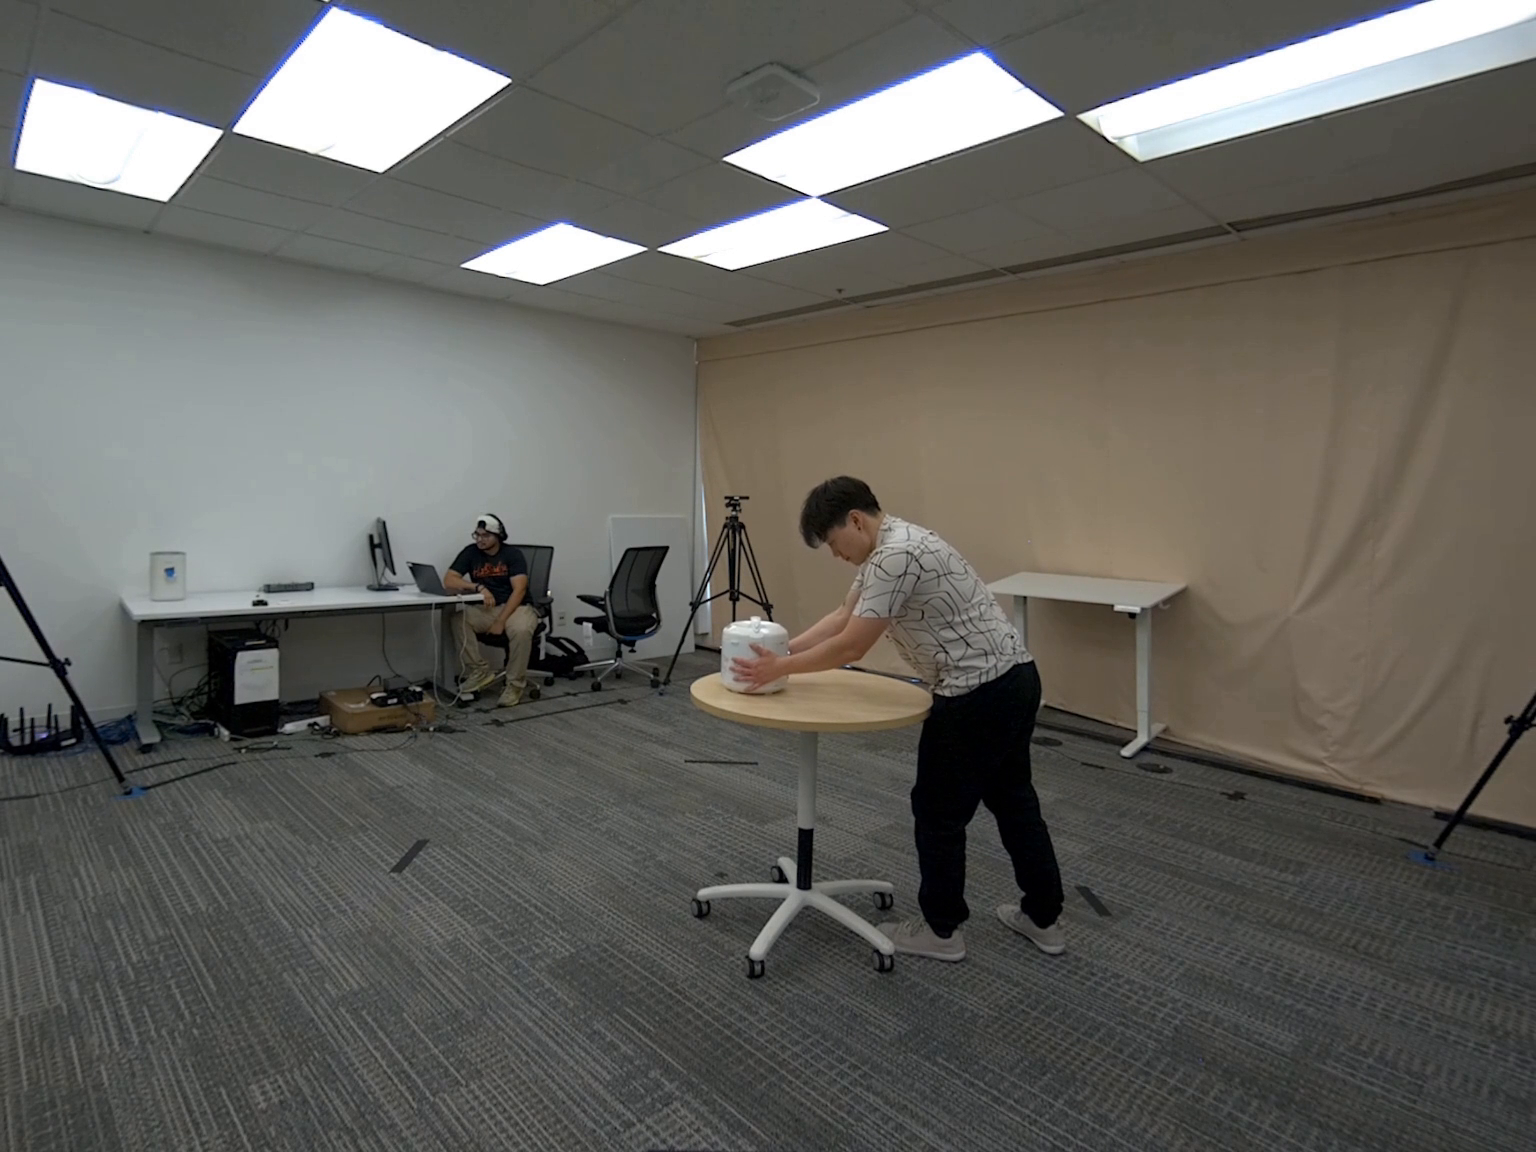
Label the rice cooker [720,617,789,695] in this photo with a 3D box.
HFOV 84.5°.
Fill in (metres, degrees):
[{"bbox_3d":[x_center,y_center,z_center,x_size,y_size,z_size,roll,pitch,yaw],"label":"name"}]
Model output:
[{"bbox_3d":[-0.041,0.244,2.682,0.217,0.232,0.222,-1,5,-2],"label":"rice cooker"}]
